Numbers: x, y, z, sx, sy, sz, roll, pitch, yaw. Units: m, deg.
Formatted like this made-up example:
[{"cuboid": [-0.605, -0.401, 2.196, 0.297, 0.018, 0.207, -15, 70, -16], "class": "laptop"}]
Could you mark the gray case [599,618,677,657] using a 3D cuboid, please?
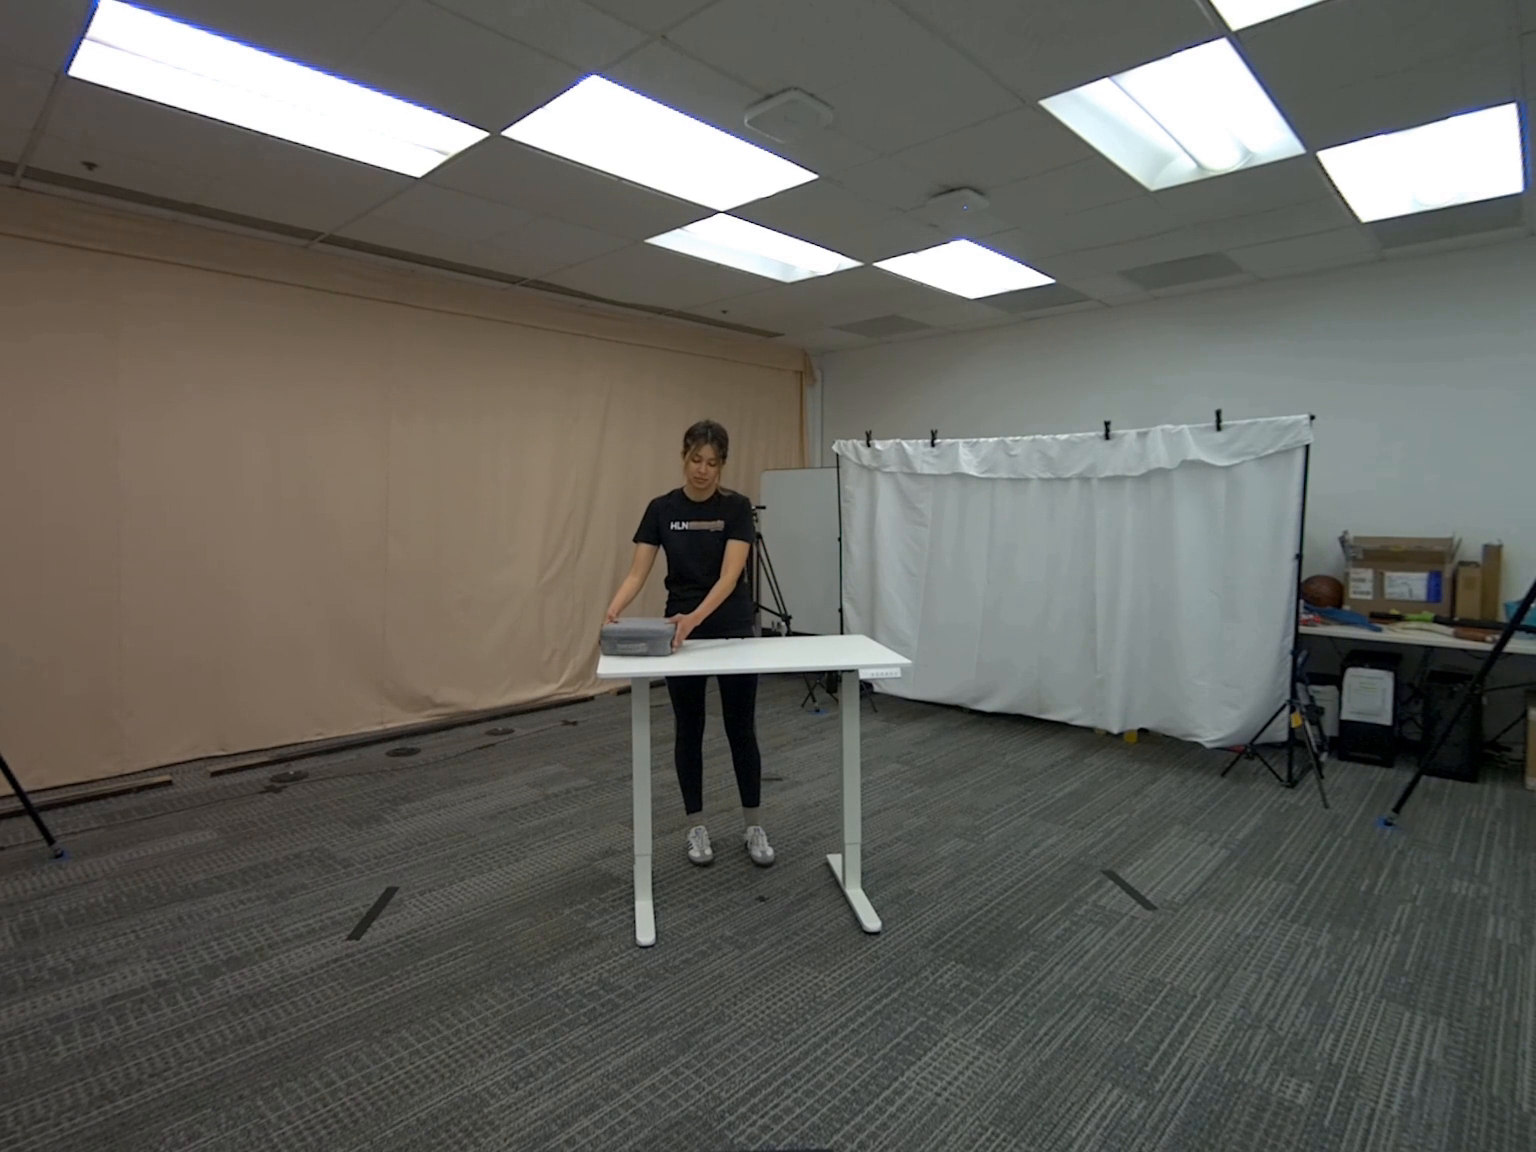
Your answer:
[{"cuboid": [-0.440, 0.216, 2.987, 0.259, 0.104, 0.259, 1, 4, 8], "class": "gray case"}]
